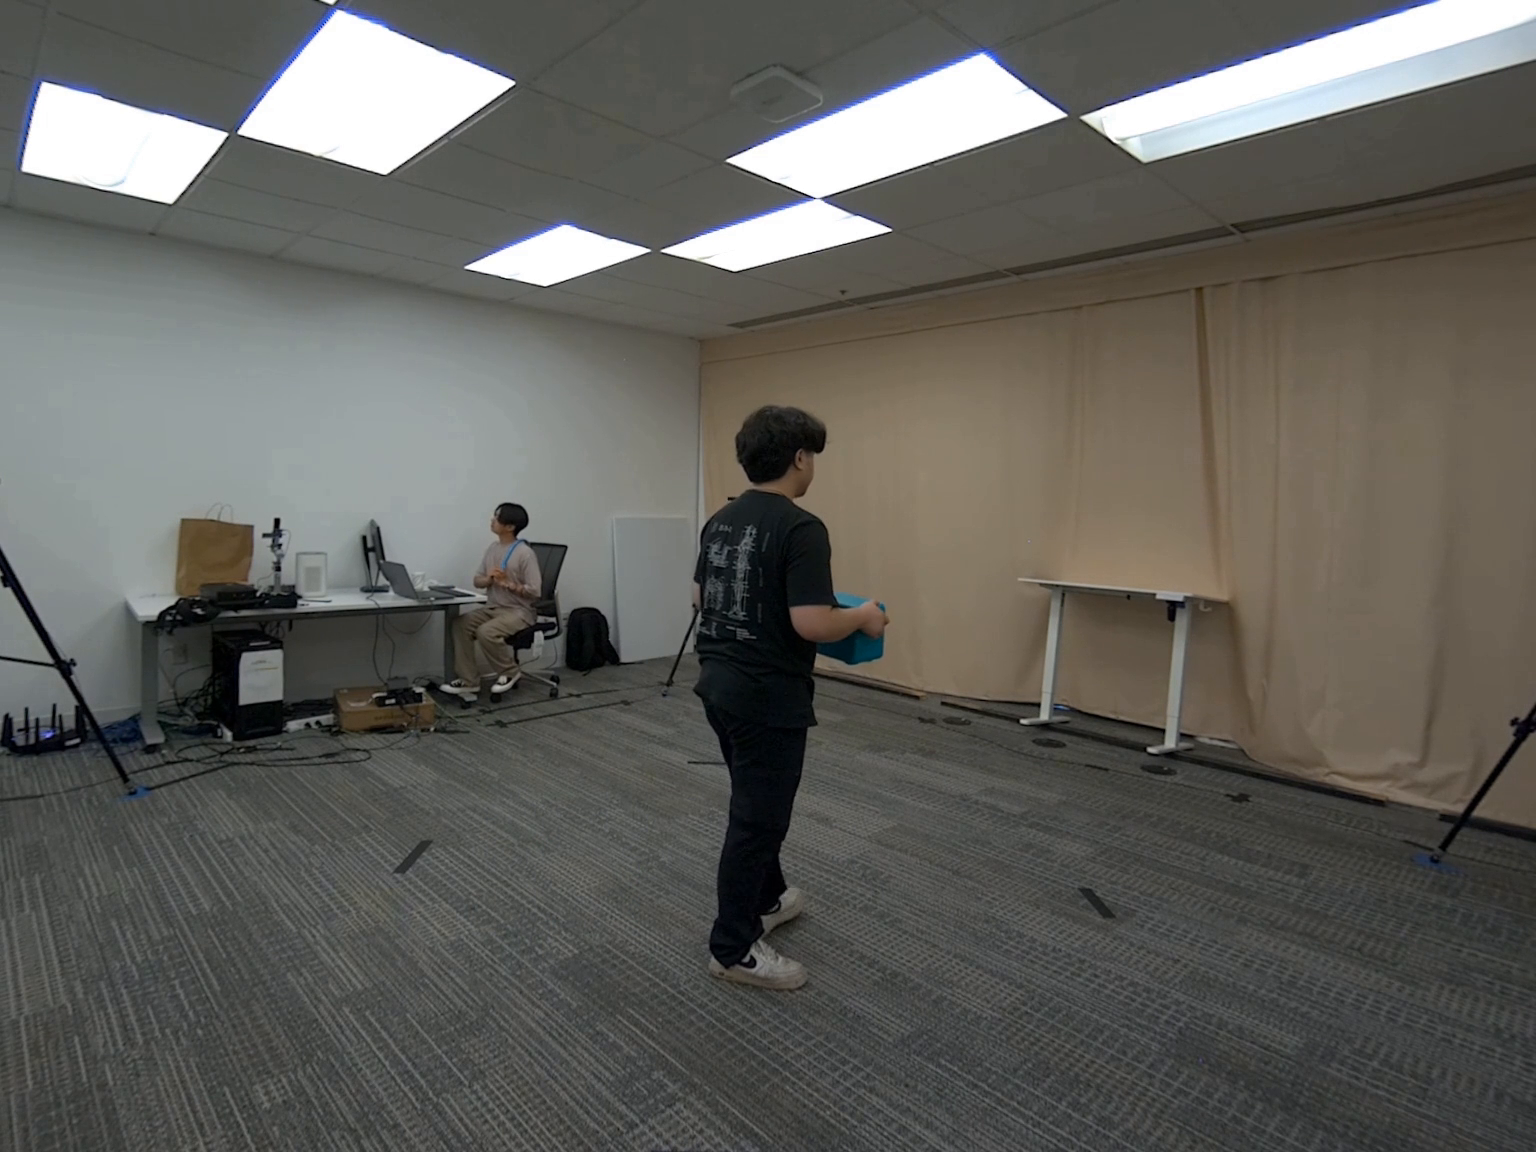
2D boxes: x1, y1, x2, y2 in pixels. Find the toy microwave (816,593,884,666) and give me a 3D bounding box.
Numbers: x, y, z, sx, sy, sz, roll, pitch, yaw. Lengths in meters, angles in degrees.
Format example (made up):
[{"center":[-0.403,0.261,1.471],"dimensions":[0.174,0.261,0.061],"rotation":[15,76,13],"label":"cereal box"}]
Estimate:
[{"center":[0.220,0.155,2.595],"dimensions":[0.149,0.183,0.294],"rotation":[-5,11,-38],"label":"toy microwave"}]
